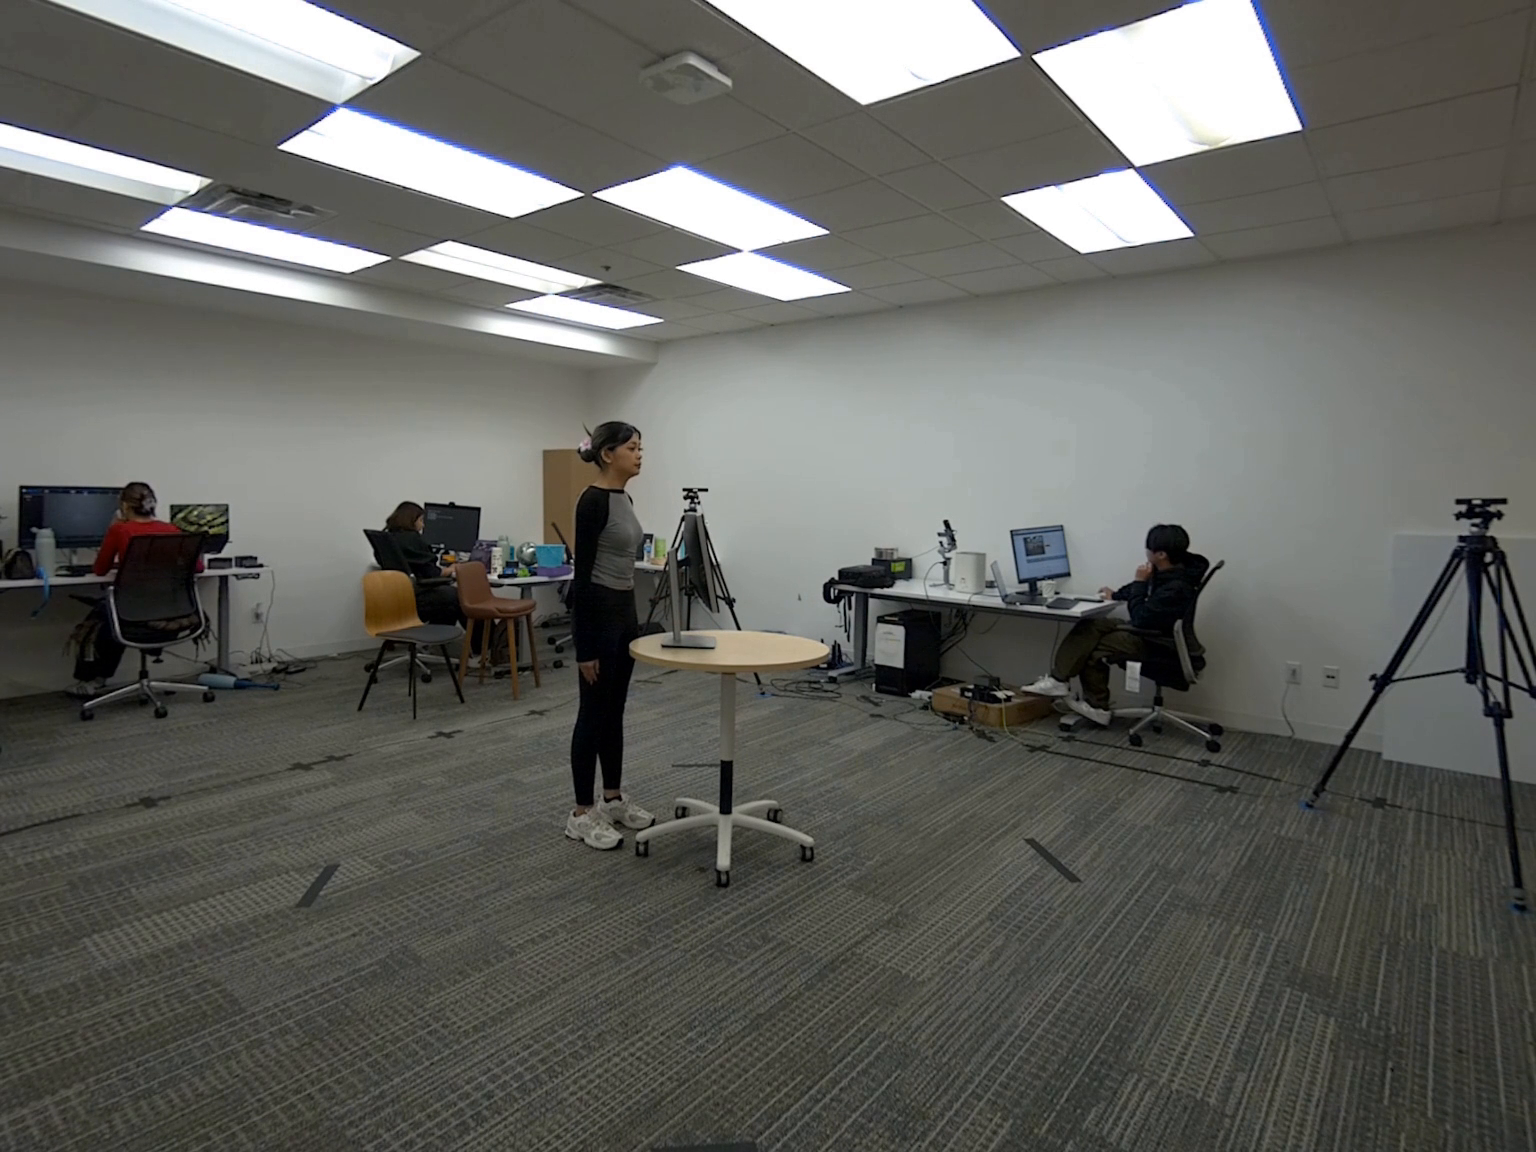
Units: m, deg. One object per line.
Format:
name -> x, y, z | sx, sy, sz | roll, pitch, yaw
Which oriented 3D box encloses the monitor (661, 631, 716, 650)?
monitor -> -0.312, 0.010, 3.294 | 0.185, 0.522, 0.546 | 3, 3, -11
